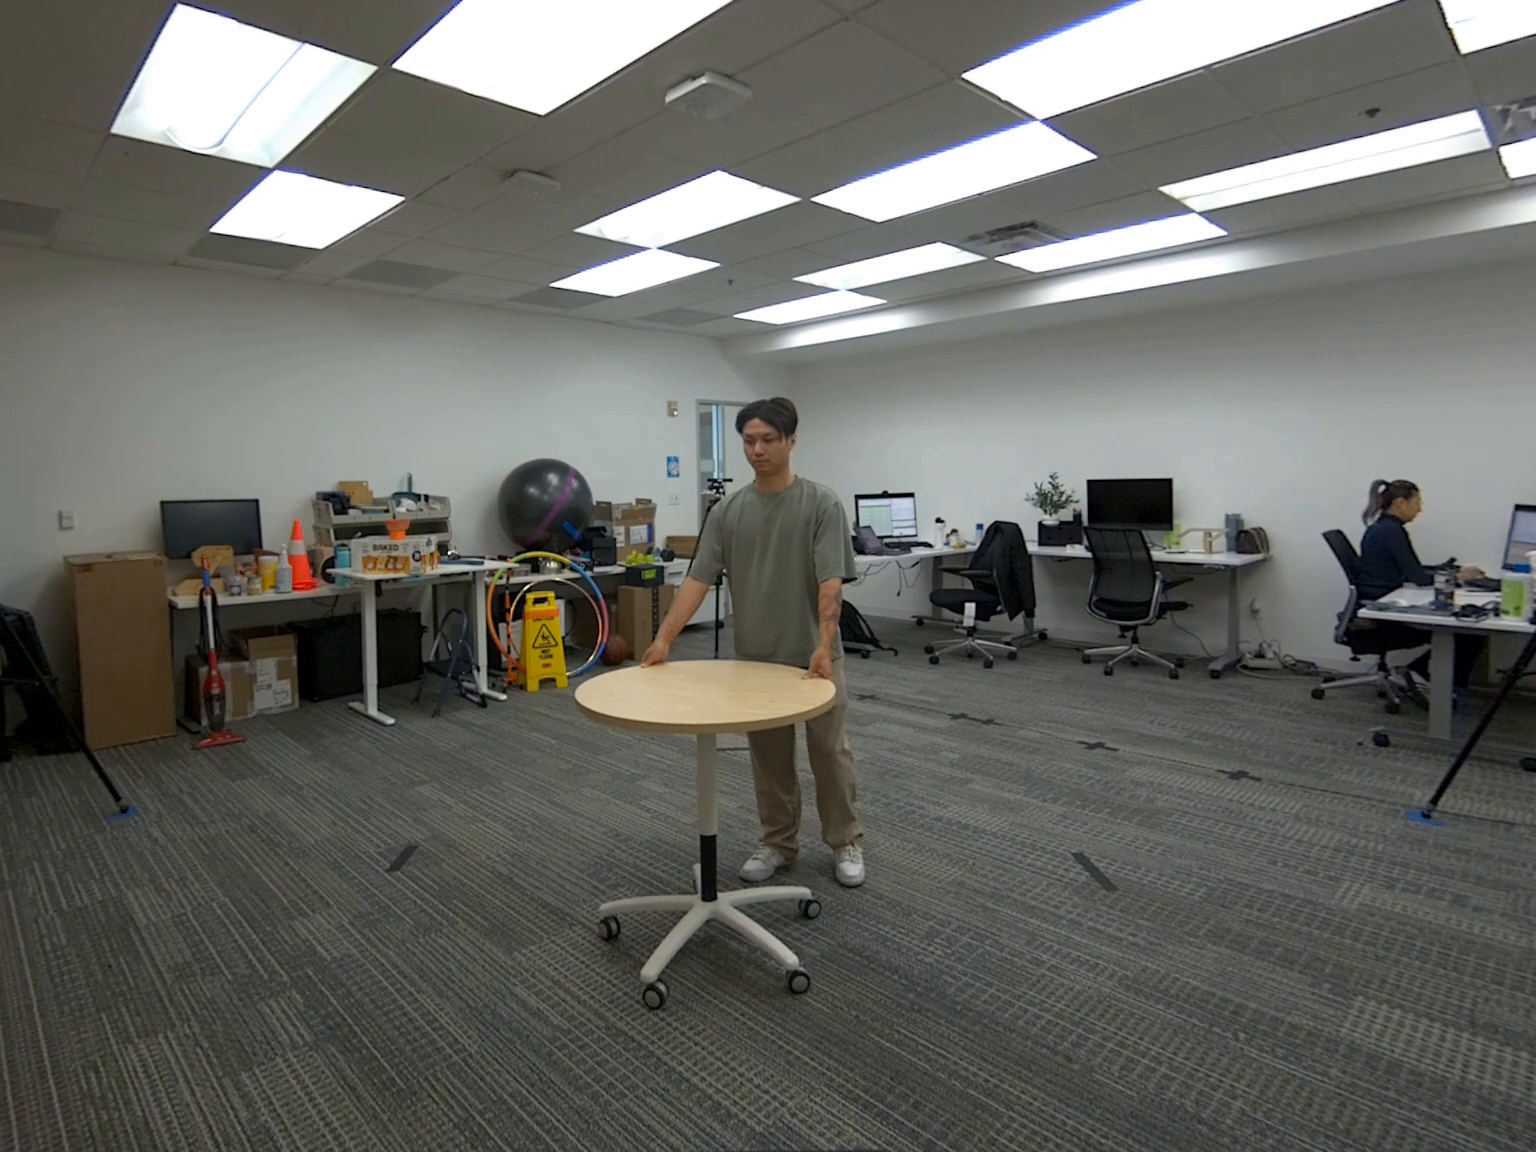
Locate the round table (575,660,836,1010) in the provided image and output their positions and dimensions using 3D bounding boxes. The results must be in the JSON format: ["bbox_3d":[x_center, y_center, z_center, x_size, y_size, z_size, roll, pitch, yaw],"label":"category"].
[{"bbox_3d":[-0.182,0.720,2.542,0.784,0.784,0.789,-1,5,-2],"label":"round table"}]
